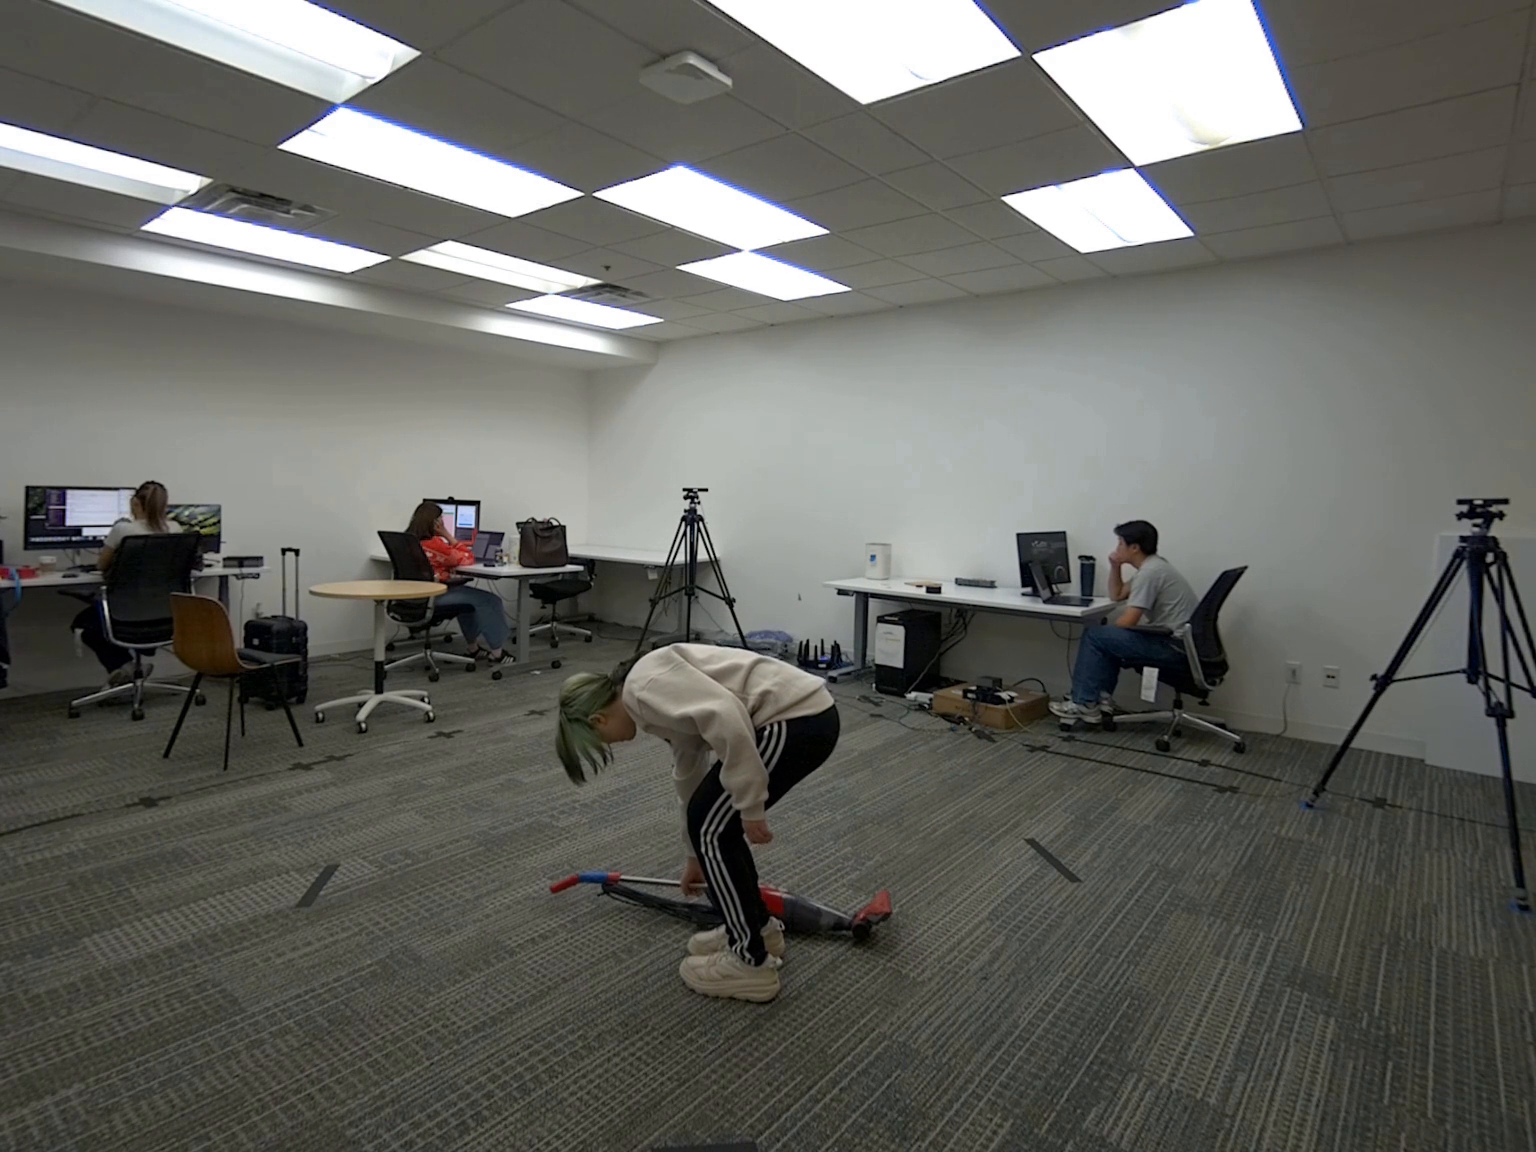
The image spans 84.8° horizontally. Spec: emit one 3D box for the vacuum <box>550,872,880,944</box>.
[{"bbox_3d":[-0.202,1.045,2.736,1.059,0.145,0.249,0,-4,8],"label":"vacuum"}]
